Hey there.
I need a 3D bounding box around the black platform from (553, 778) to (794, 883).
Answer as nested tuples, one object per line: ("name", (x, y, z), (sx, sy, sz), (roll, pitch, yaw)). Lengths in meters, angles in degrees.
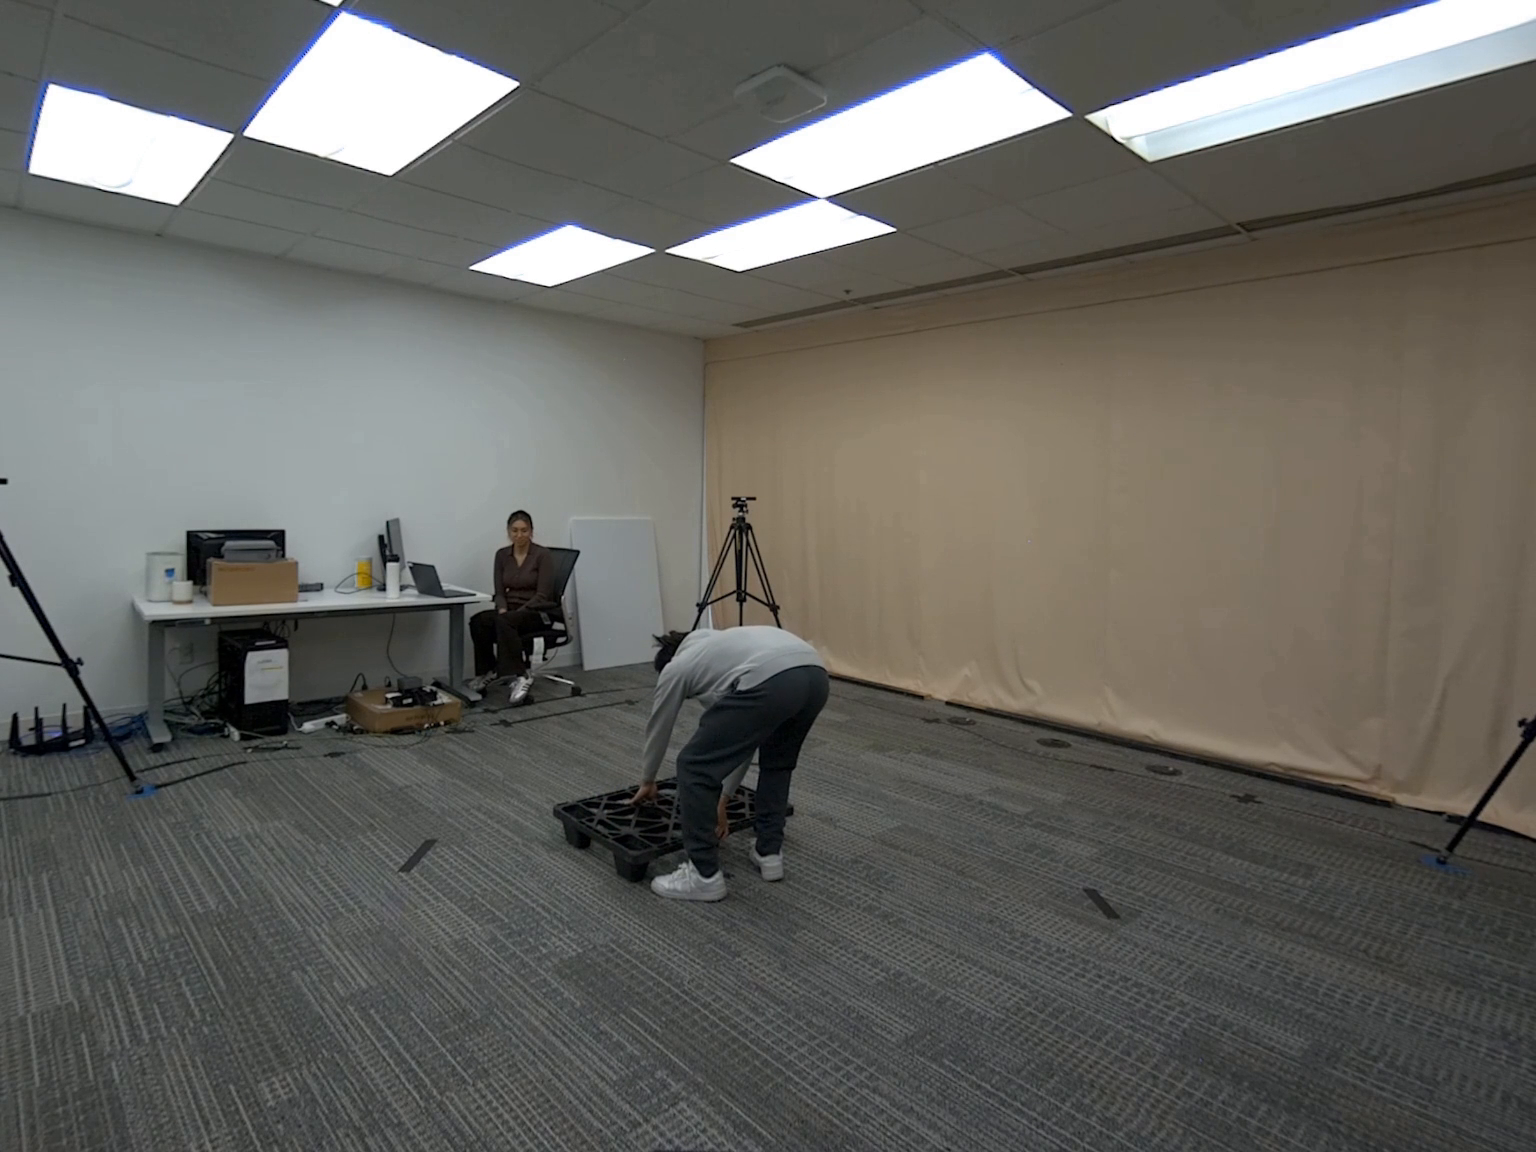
("black platform", (-0.393, 1.004, 3.440), (0.787, 0.143, 0.620), (-3, 6, -42))
